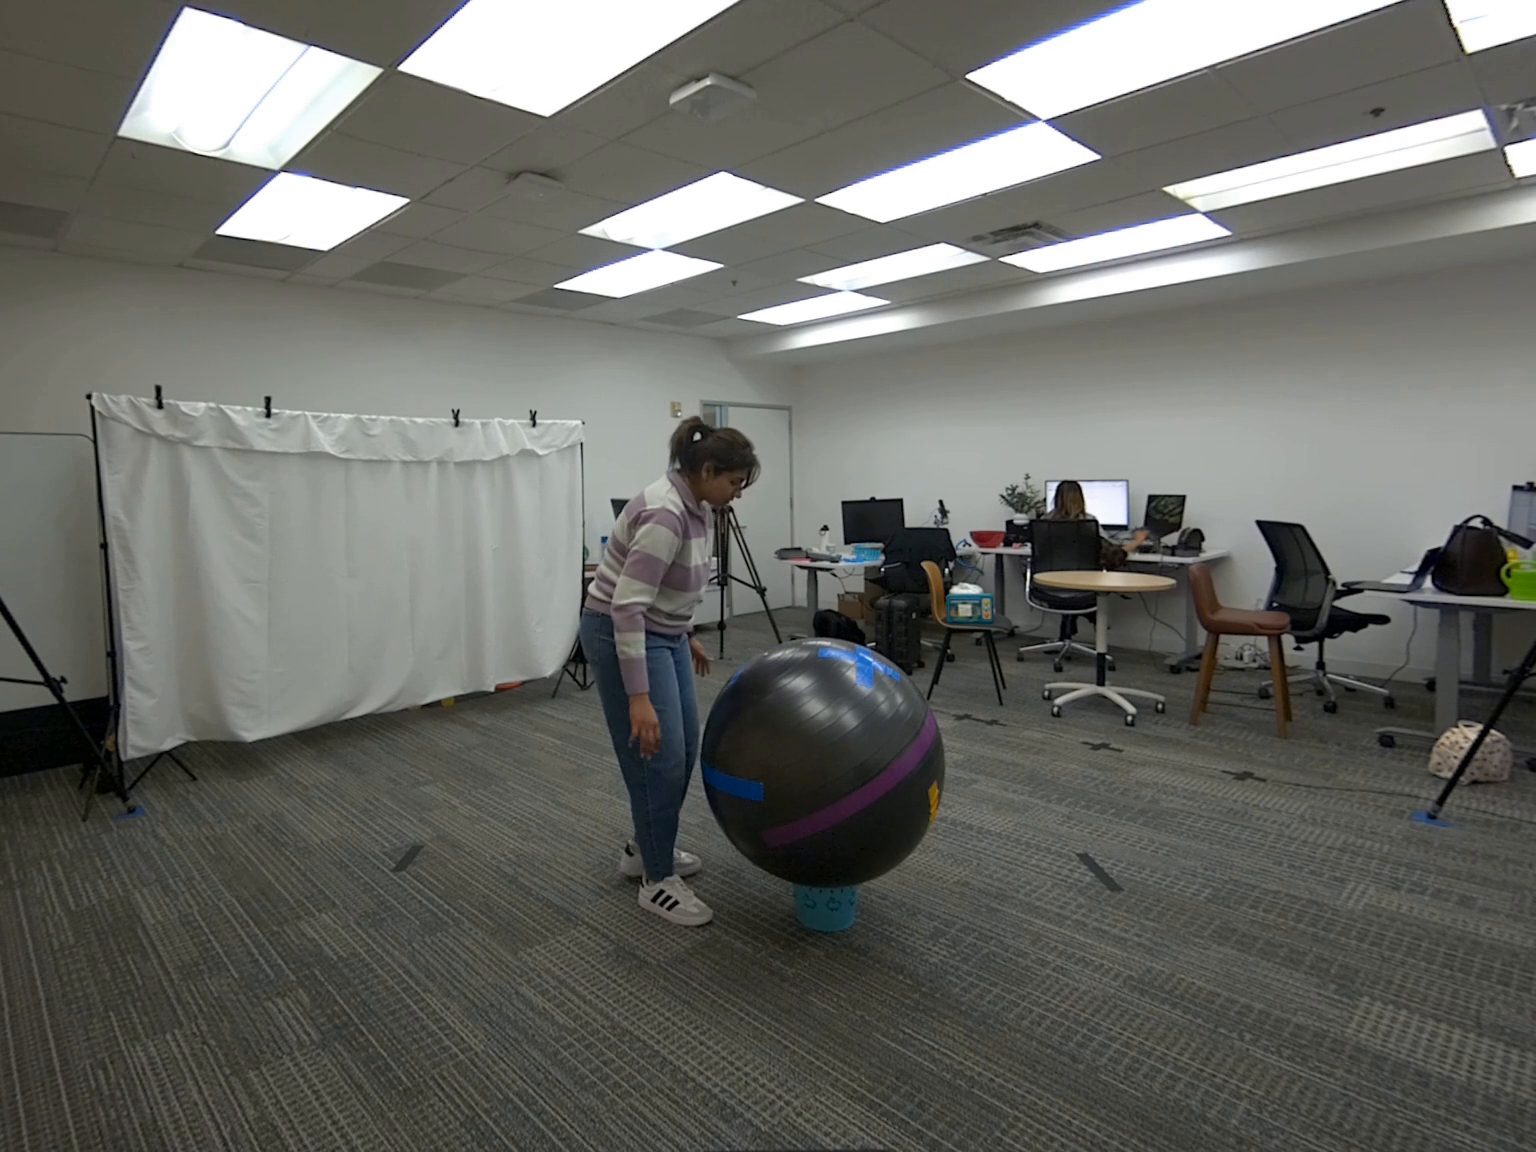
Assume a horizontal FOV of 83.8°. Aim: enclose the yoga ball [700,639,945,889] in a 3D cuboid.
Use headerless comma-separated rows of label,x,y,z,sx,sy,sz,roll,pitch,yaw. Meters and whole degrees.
yoga ball,0.170,0.586,2.675,0.757,0.755,0.762,-1,5,-2
